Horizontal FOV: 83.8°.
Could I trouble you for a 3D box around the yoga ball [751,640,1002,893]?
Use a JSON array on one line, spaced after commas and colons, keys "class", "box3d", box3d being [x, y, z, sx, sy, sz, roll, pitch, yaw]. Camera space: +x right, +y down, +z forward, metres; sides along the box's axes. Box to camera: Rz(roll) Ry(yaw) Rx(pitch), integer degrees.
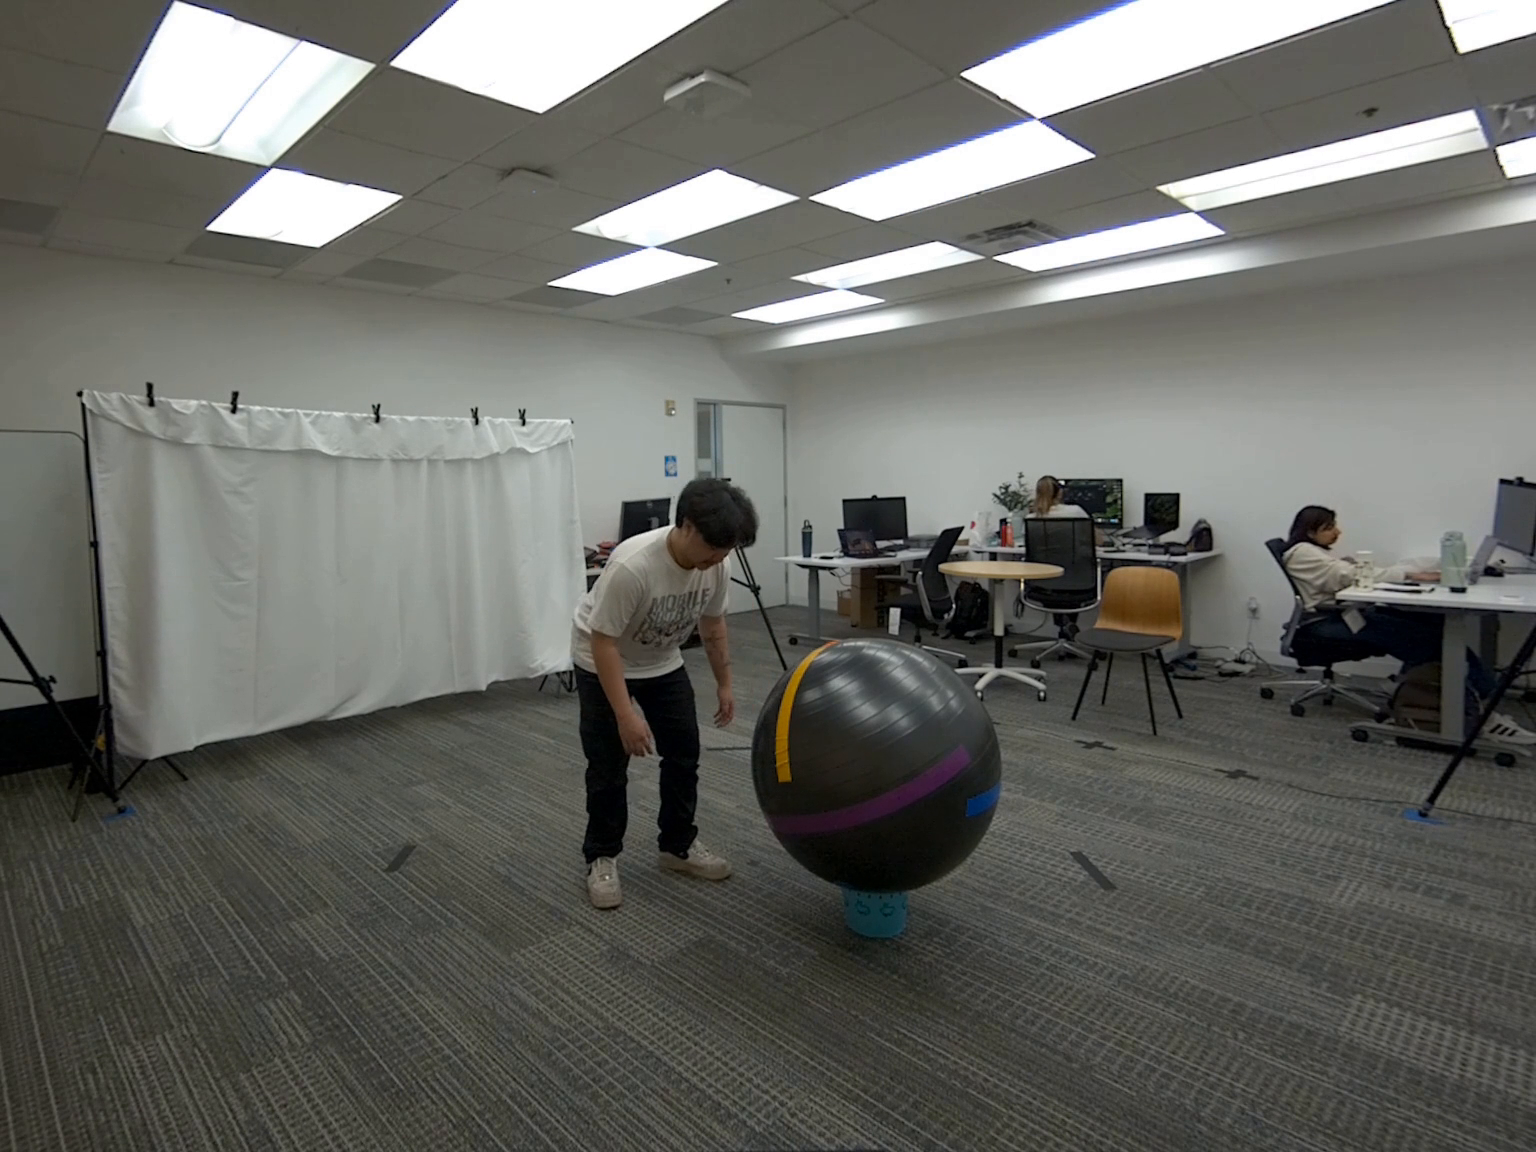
[{"class": "yoga ball", "box3d": [0.326, 0.572, 2.645, 0.757, 0.755, 0.762, -1, 5, -2]}]
